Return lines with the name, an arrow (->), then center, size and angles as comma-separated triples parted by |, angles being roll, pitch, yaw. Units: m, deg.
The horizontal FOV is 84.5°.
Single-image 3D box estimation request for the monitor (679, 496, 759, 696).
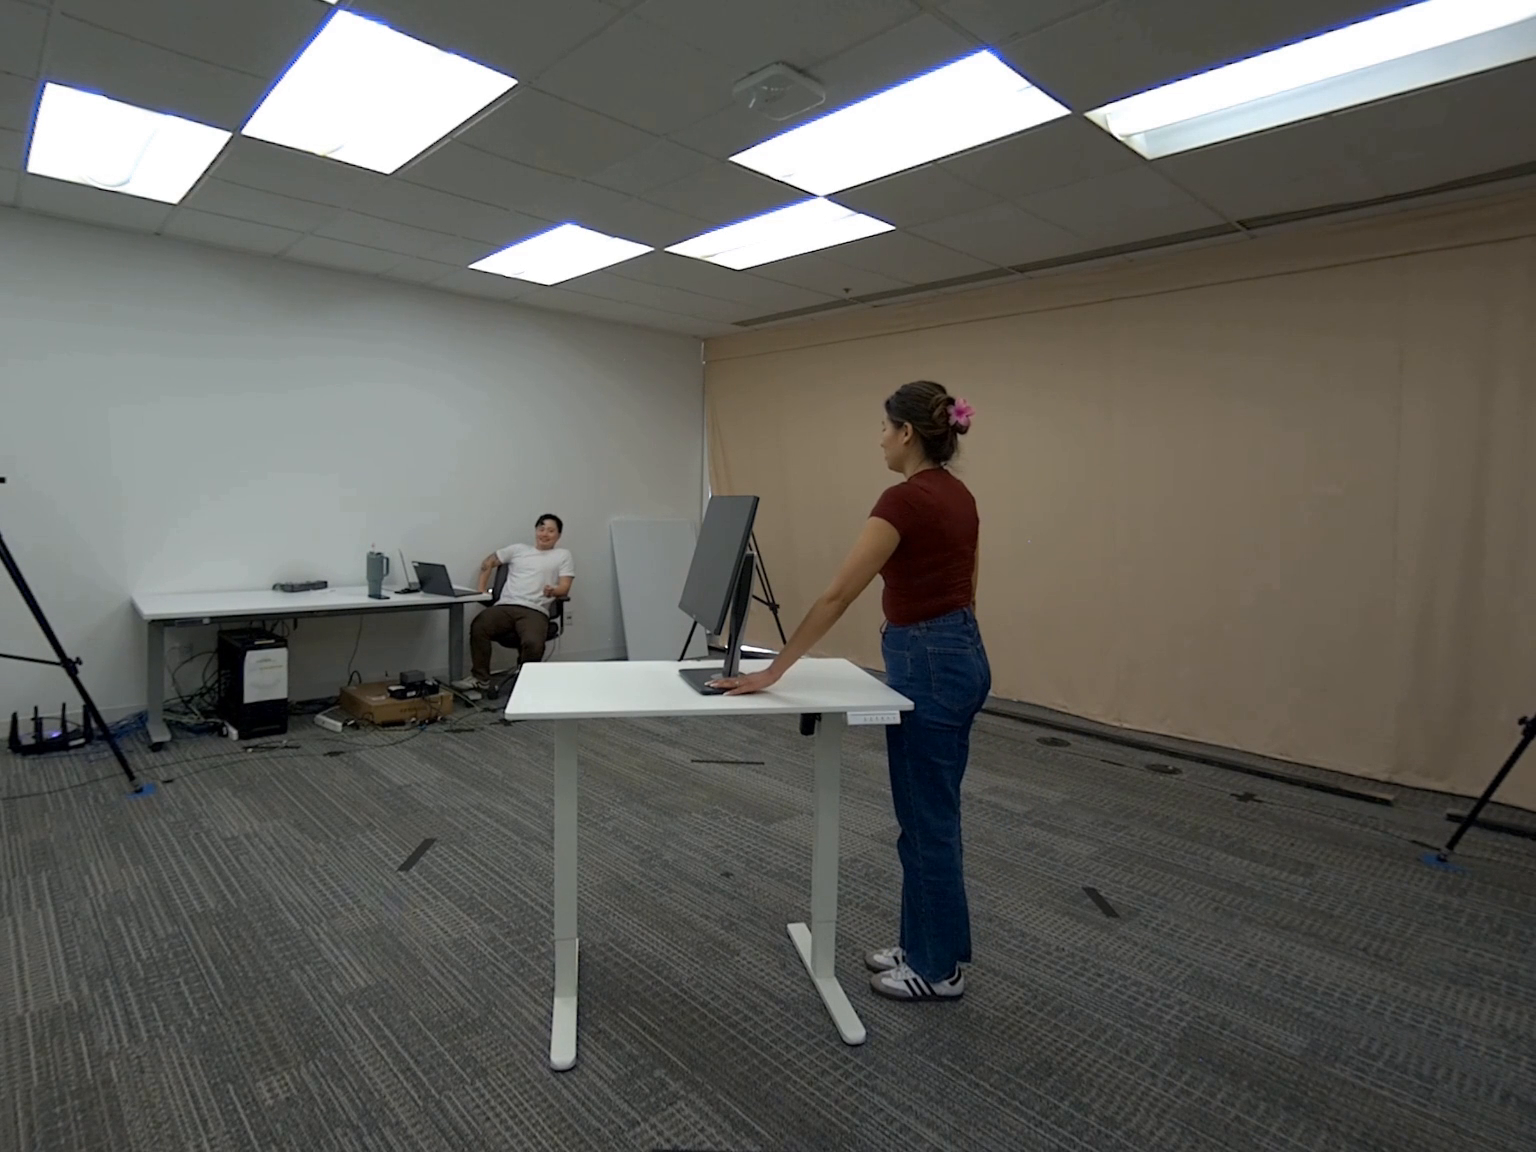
monitor -> -0.118, 0.041, 2.294 | 0.184, 0.522, 0.547 | 3, 2, -17
